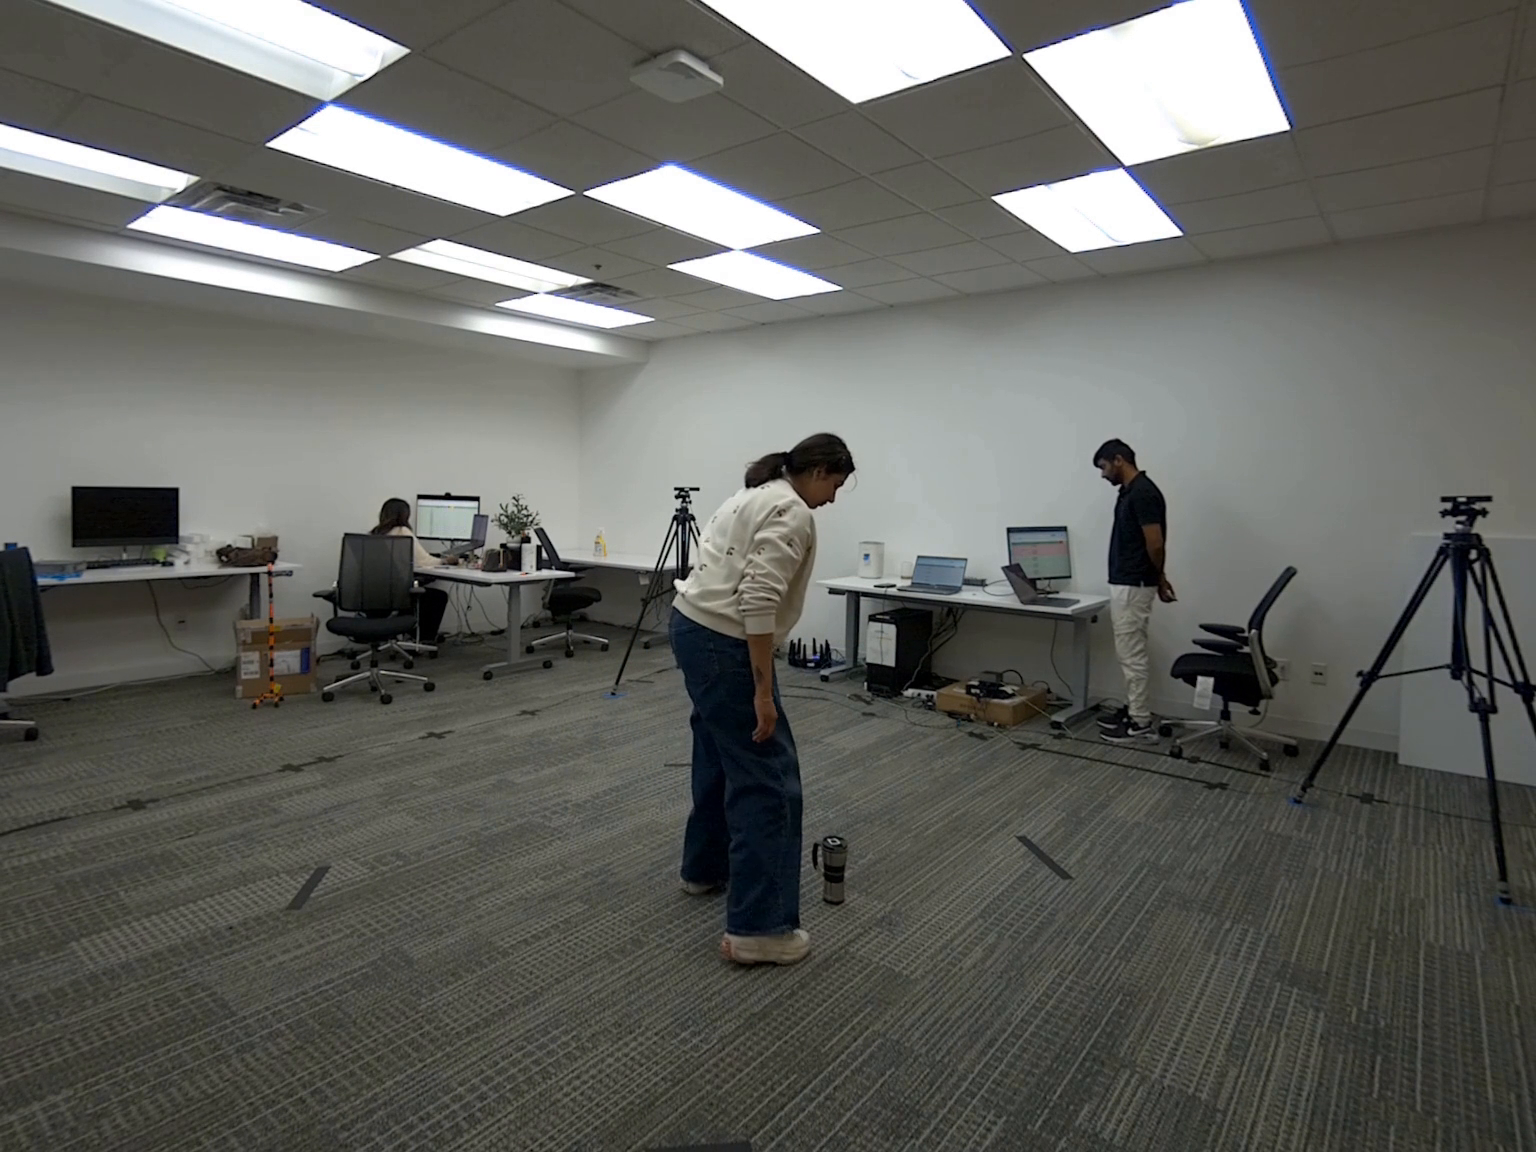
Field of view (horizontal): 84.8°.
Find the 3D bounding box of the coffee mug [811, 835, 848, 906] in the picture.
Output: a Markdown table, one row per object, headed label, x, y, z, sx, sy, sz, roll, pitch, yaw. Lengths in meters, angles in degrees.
| label | x | y | z | sx | sy | sz | roll | pitch | yaw |
| --- | --- | --- | --- | --- | --- | --- | --- | --- | --- |
| coffee mug | 0.212 | 1.000 | 2.899 | 0.085 | 0.201 | 0.126 | -6 | 11 | -42 |
